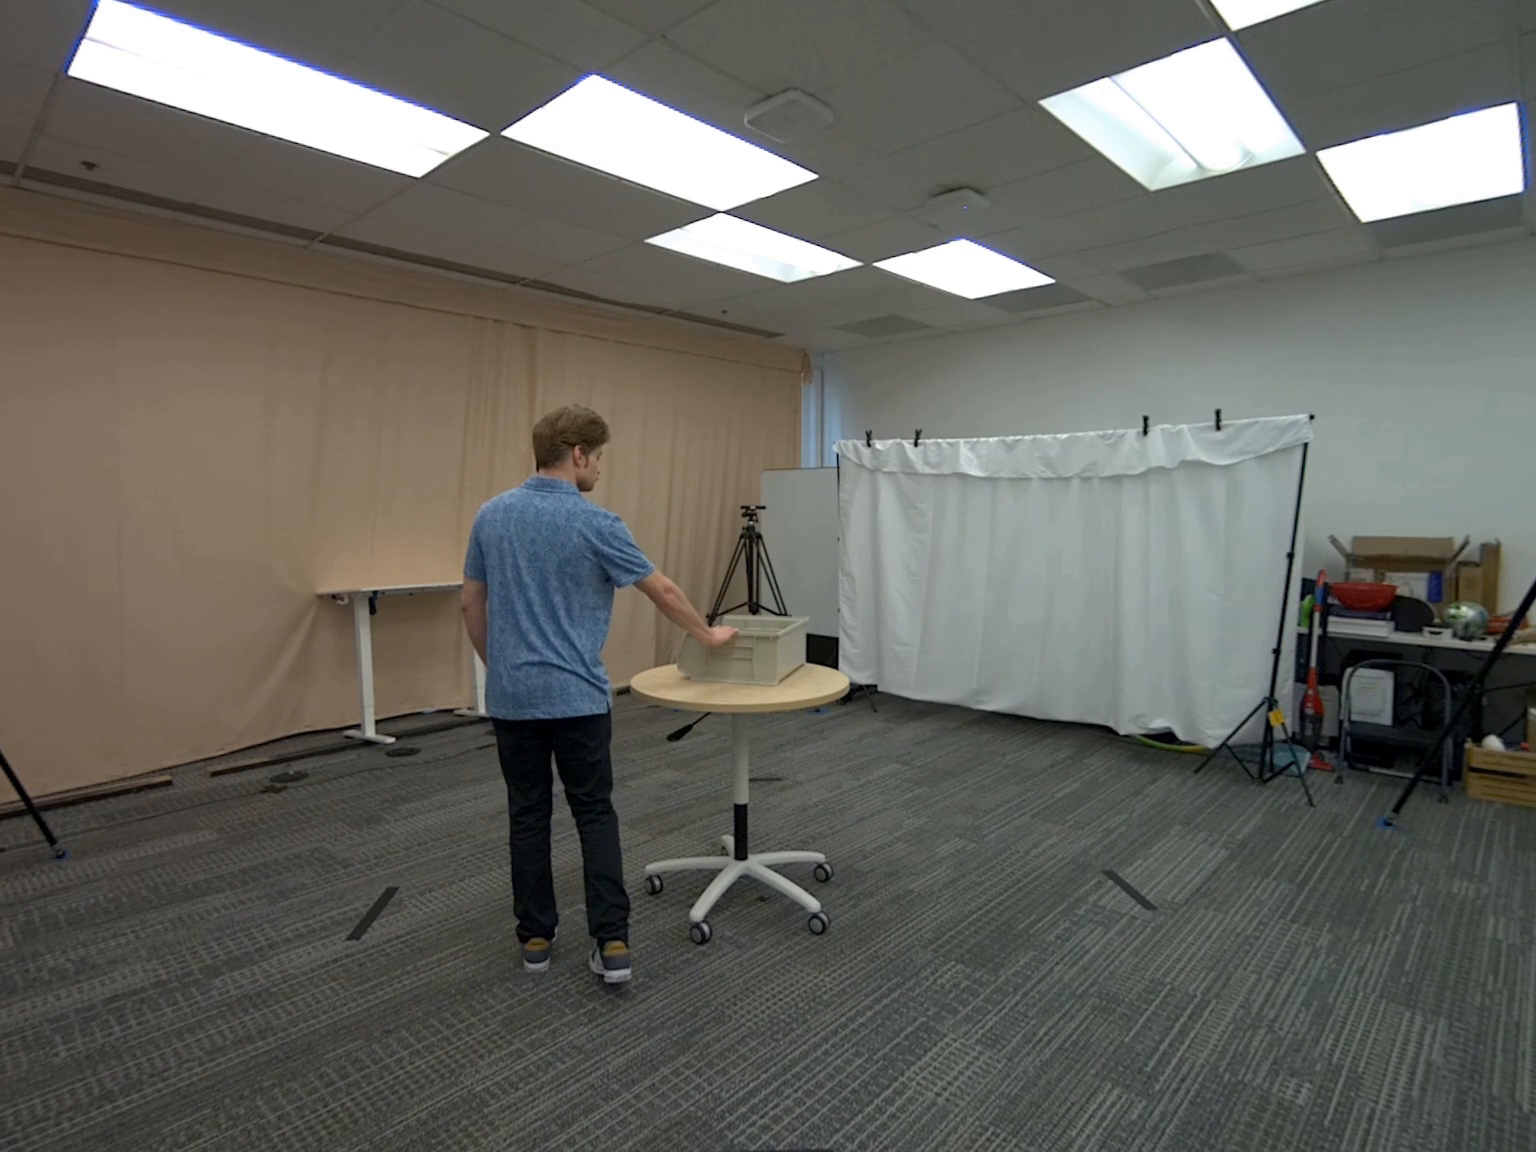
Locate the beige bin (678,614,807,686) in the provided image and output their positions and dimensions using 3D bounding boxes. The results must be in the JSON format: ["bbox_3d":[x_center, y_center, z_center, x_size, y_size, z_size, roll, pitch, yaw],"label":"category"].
[{"bbox_3d":[-0.079,0.261,3.076,0.385,0.188,0.415,3,5,19],"label":"beige bin"}]
